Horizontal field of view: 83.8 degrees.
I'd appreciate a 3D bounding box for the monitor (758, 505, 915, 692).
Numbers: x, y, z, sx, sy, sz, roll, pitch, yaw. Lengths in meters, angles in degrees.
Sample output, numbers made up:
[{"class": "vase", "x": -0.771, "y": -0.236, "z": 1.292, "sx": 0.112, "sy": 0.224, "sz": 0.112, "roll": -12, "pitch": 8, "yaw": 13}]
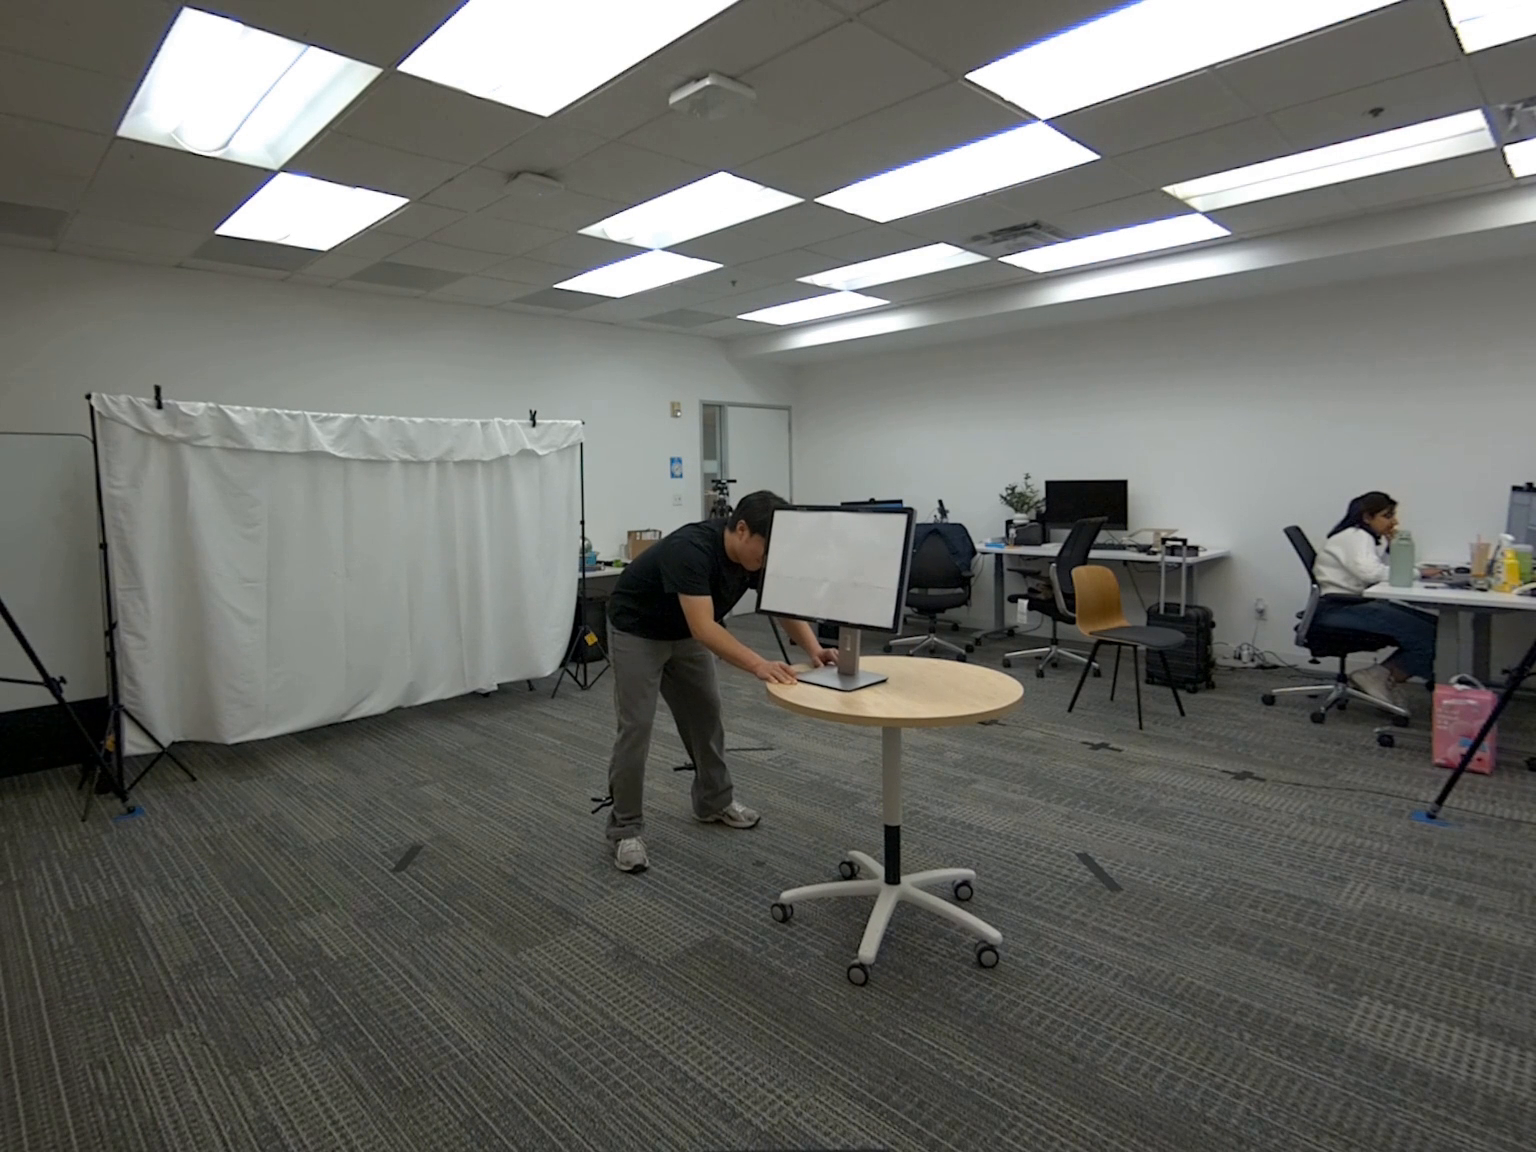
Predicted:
[{"class": "monitor", "x": 0.239, "y": 0.057, "z": 2.653, "sx": 0.583, "sy": 0.554, "sz": 0.204, "roll": 4, "pitch": 0, "yaw": 45}]
